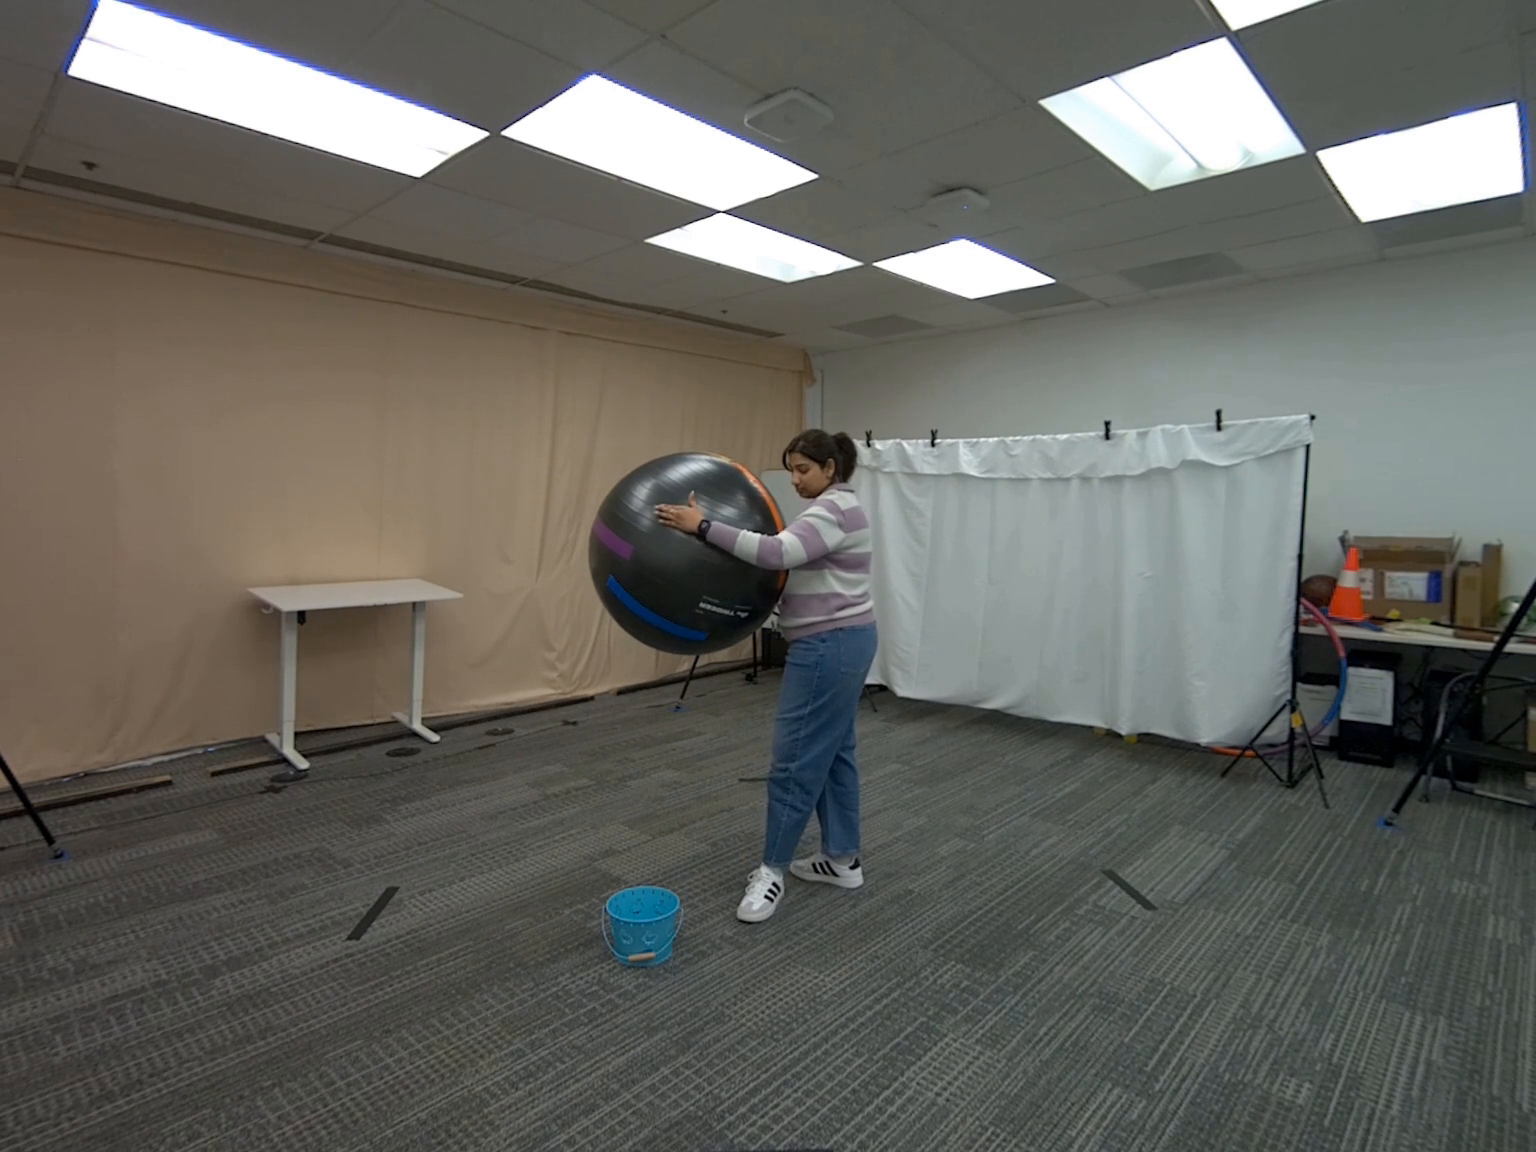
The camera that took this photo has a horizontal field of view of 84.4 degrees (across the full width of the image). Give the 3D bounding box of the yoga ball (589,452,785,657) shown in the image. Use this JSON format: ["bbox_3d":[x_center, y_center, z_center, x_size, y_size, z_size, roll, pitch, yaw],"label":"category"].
[{"bbox_3d":[-0.294,-0.081,3.181,0.757,0.756,0.761,0,4,-2],"label":"yoga ball"}]
